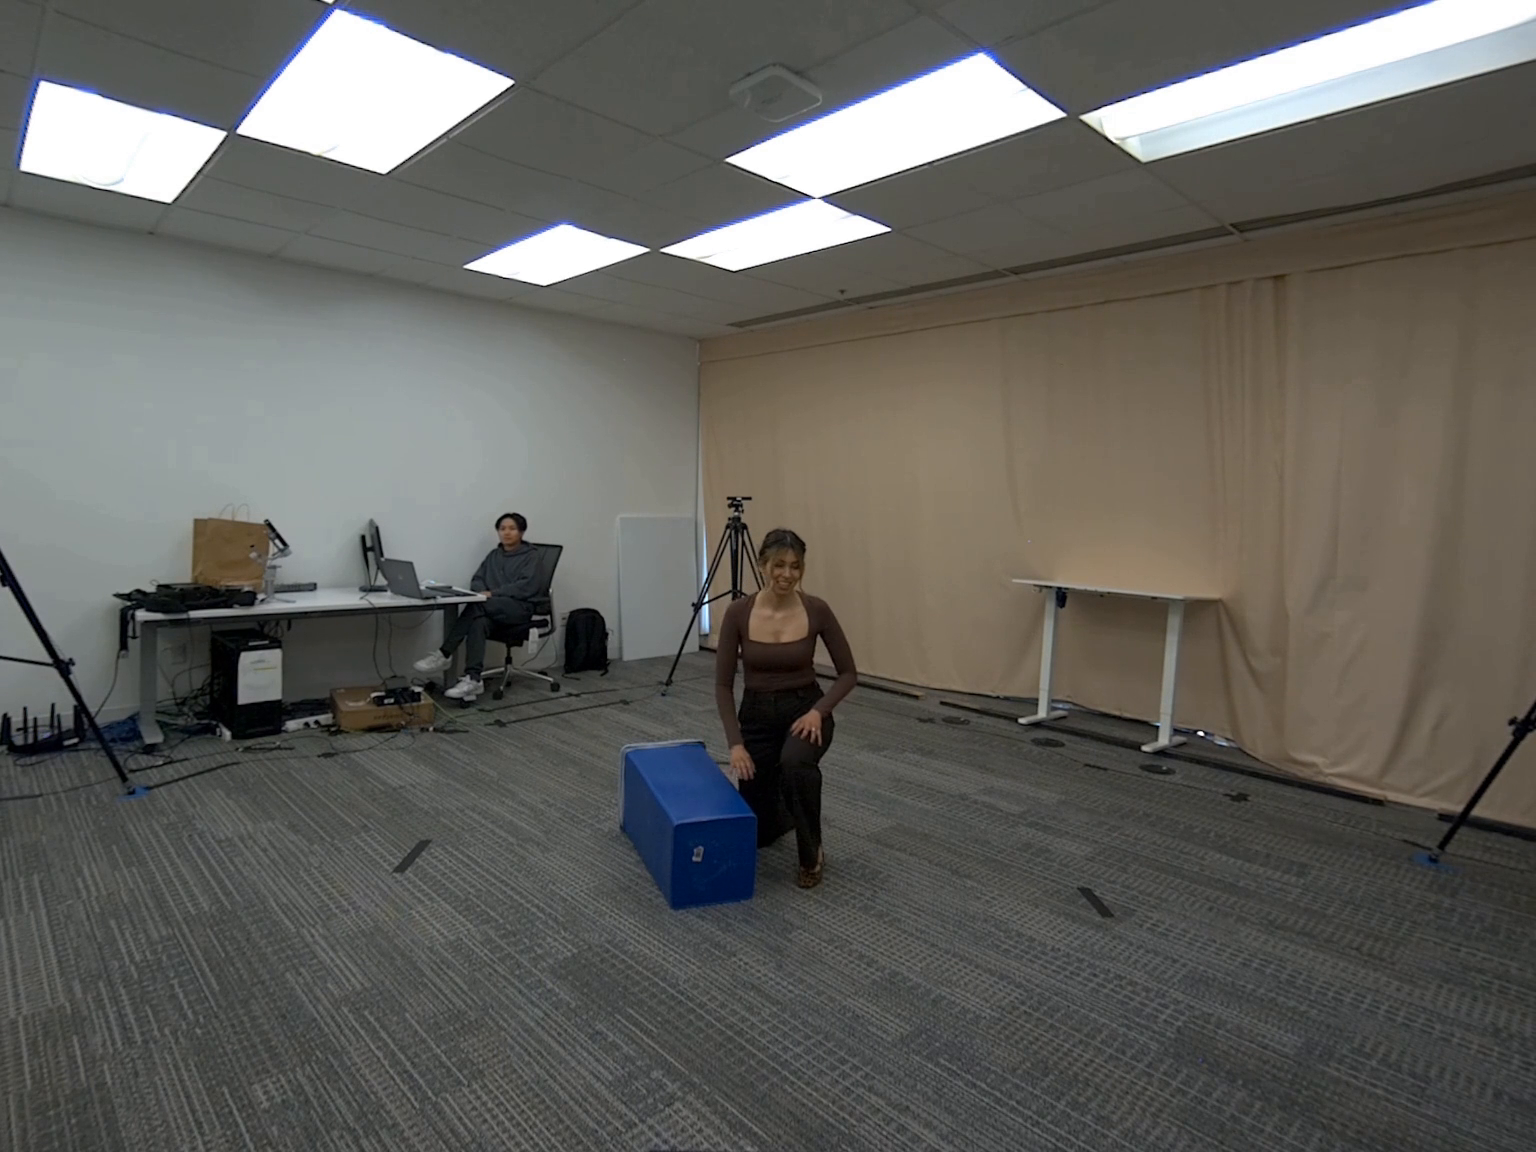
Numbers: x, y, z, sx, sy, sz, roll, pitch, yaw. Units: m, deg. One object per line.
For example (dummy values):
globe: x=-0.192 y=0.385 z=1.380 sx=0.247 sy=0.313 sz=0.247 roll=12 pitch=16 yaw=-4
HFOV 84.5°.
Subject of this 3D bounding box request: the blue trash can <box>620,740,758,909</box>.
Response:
blue trash can: x=-0.322 y=0.919 z=3.197 sx=0.368 sy=0.376 sz=0.727 roll=1 pitch=7 yaw=-20
